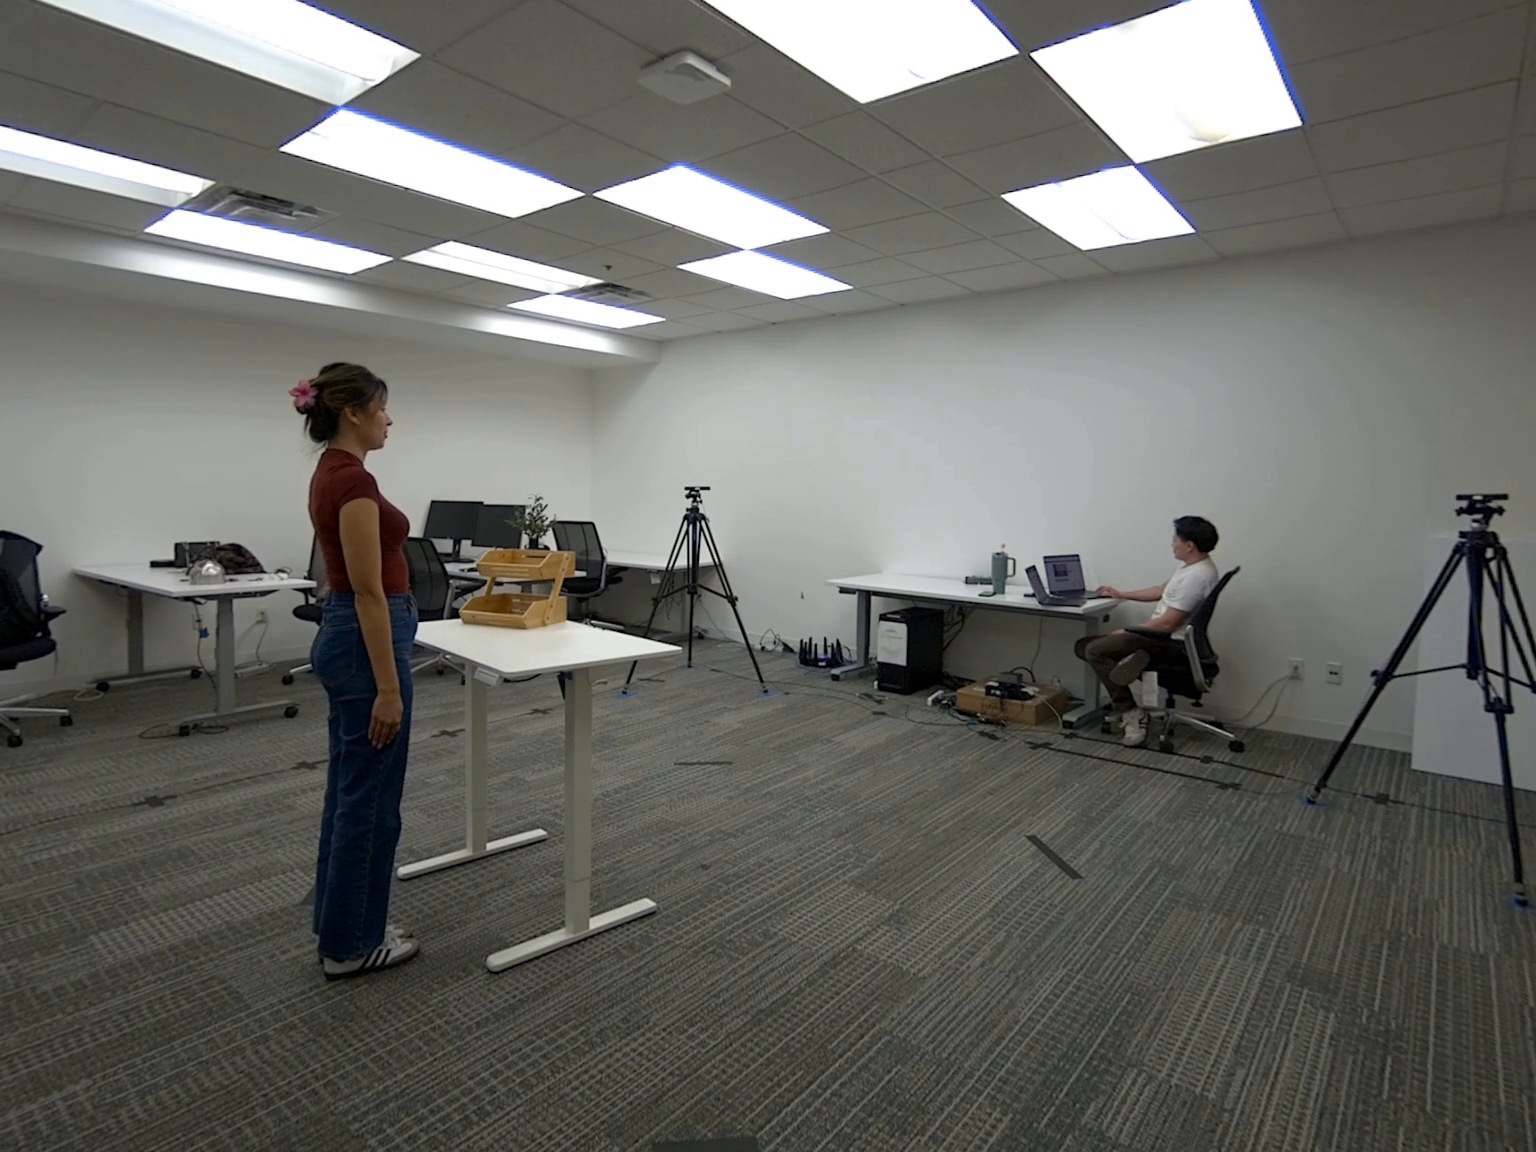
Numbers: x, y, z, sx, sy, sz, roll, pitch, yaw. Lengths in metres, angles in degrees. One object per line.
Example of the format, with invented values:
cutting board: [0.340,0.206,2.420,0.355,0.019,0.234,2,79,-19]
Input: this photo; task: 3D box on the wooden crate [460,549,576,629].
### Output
wooden crate: [-0.957,0.038,3.179,0.333,0.272,0.295,2,4,25]
